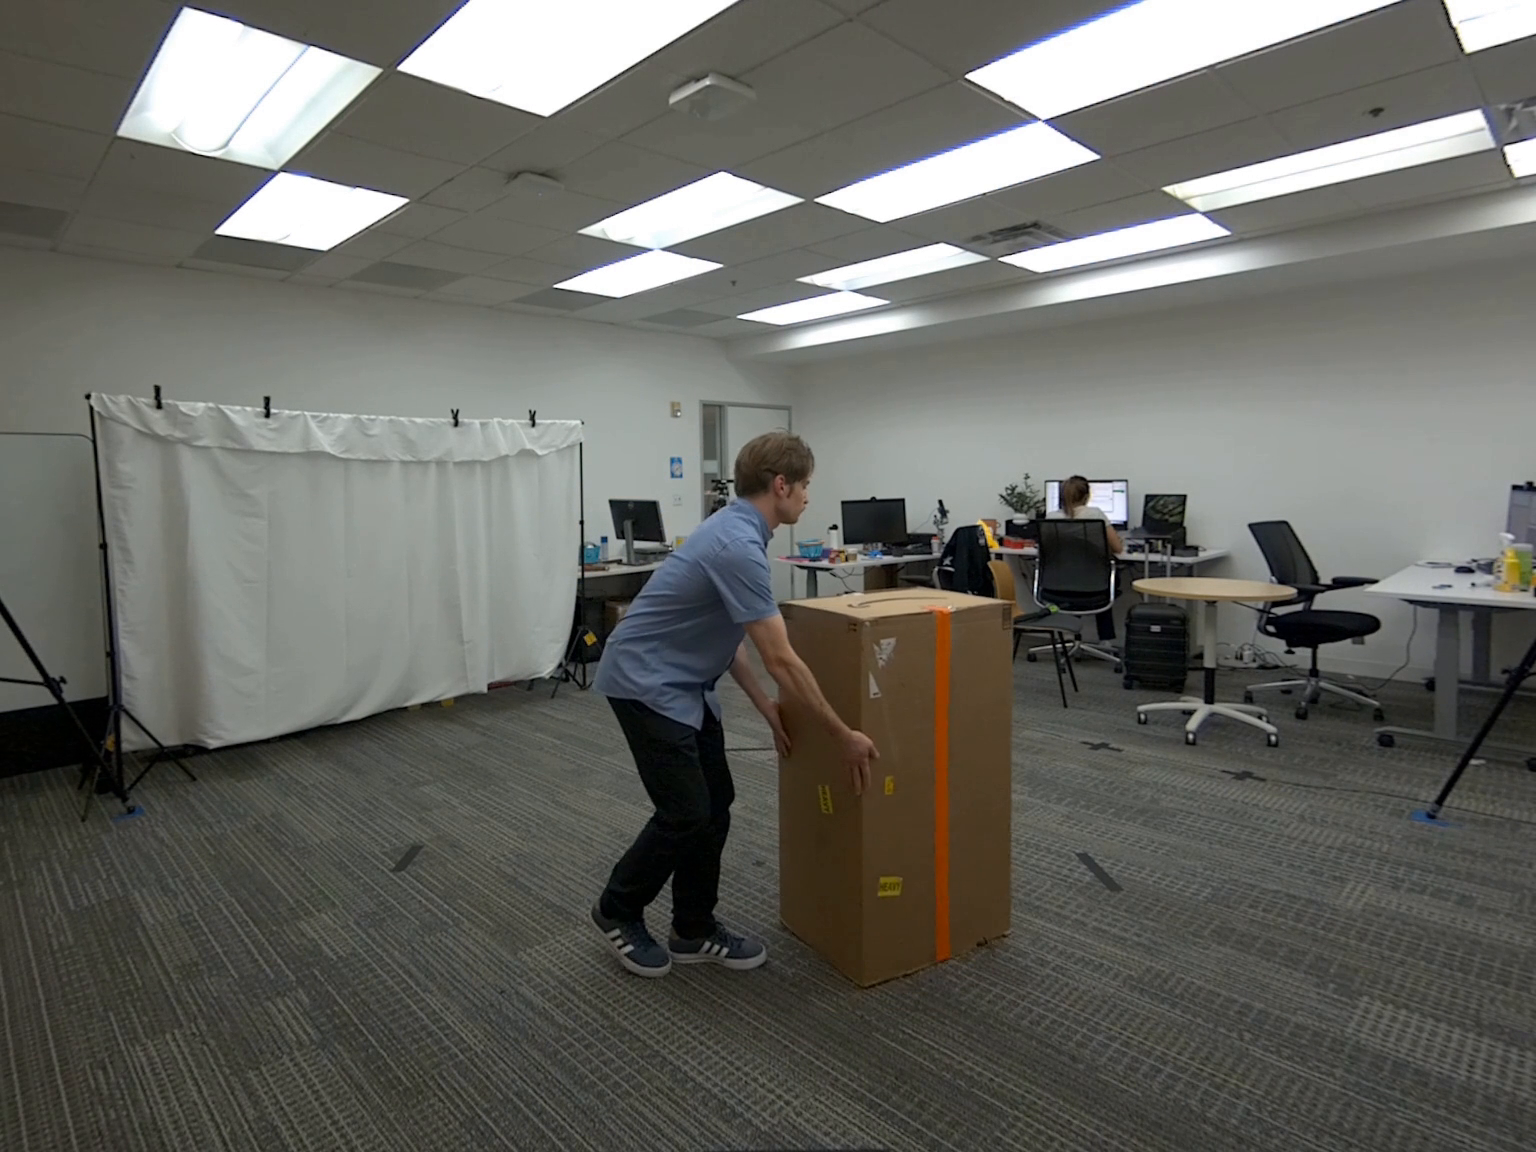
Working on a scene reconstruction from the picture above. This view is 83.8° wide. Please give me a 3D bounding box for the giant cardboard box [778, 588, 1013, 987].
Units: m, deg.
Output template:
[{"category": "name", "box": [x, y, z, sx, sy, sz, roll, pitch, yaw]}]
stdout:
[{"category": "giant cardboard box", "box": [0.390, 0.587, 2.621, 0.564, 1.023, 0.438, -3, 4, -30]}]
